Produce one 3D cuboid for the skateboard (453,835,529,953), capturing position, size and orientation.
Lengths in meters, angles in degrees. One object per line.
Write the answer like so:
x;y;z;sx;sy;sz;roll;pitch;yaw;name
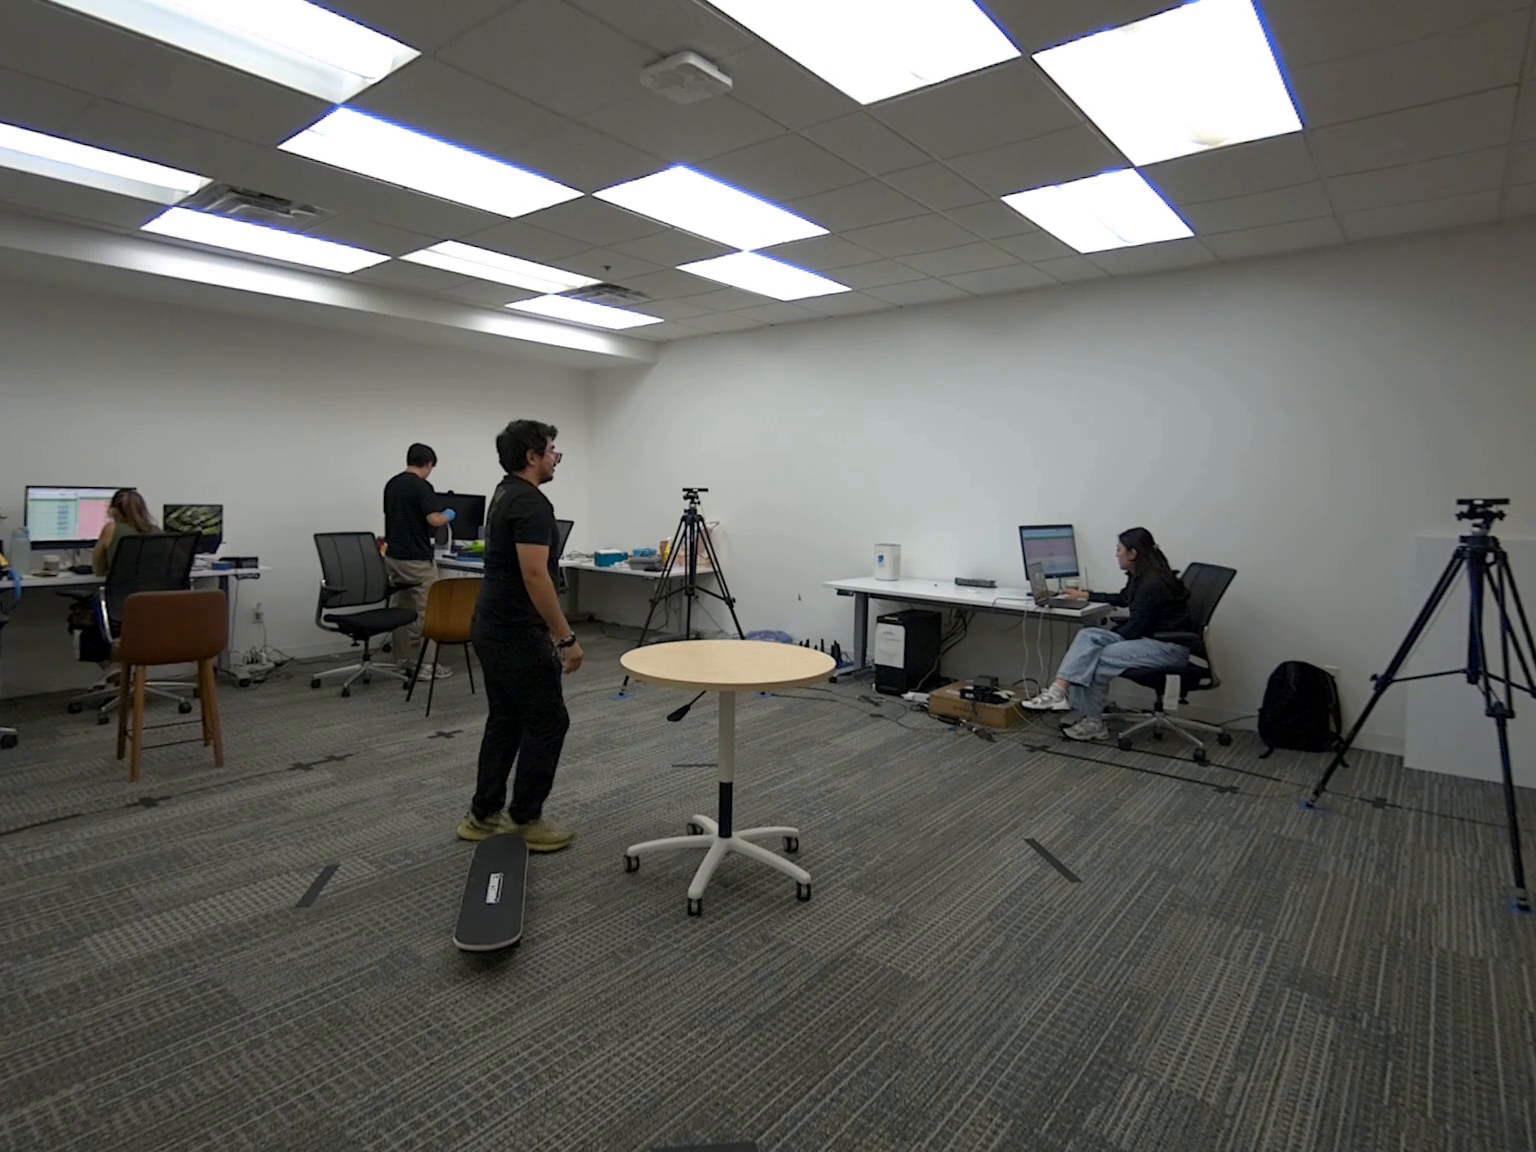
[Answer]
-0.892;1.038;2.754;0.191;0.110;0.799;0;6;-13;skateboard
